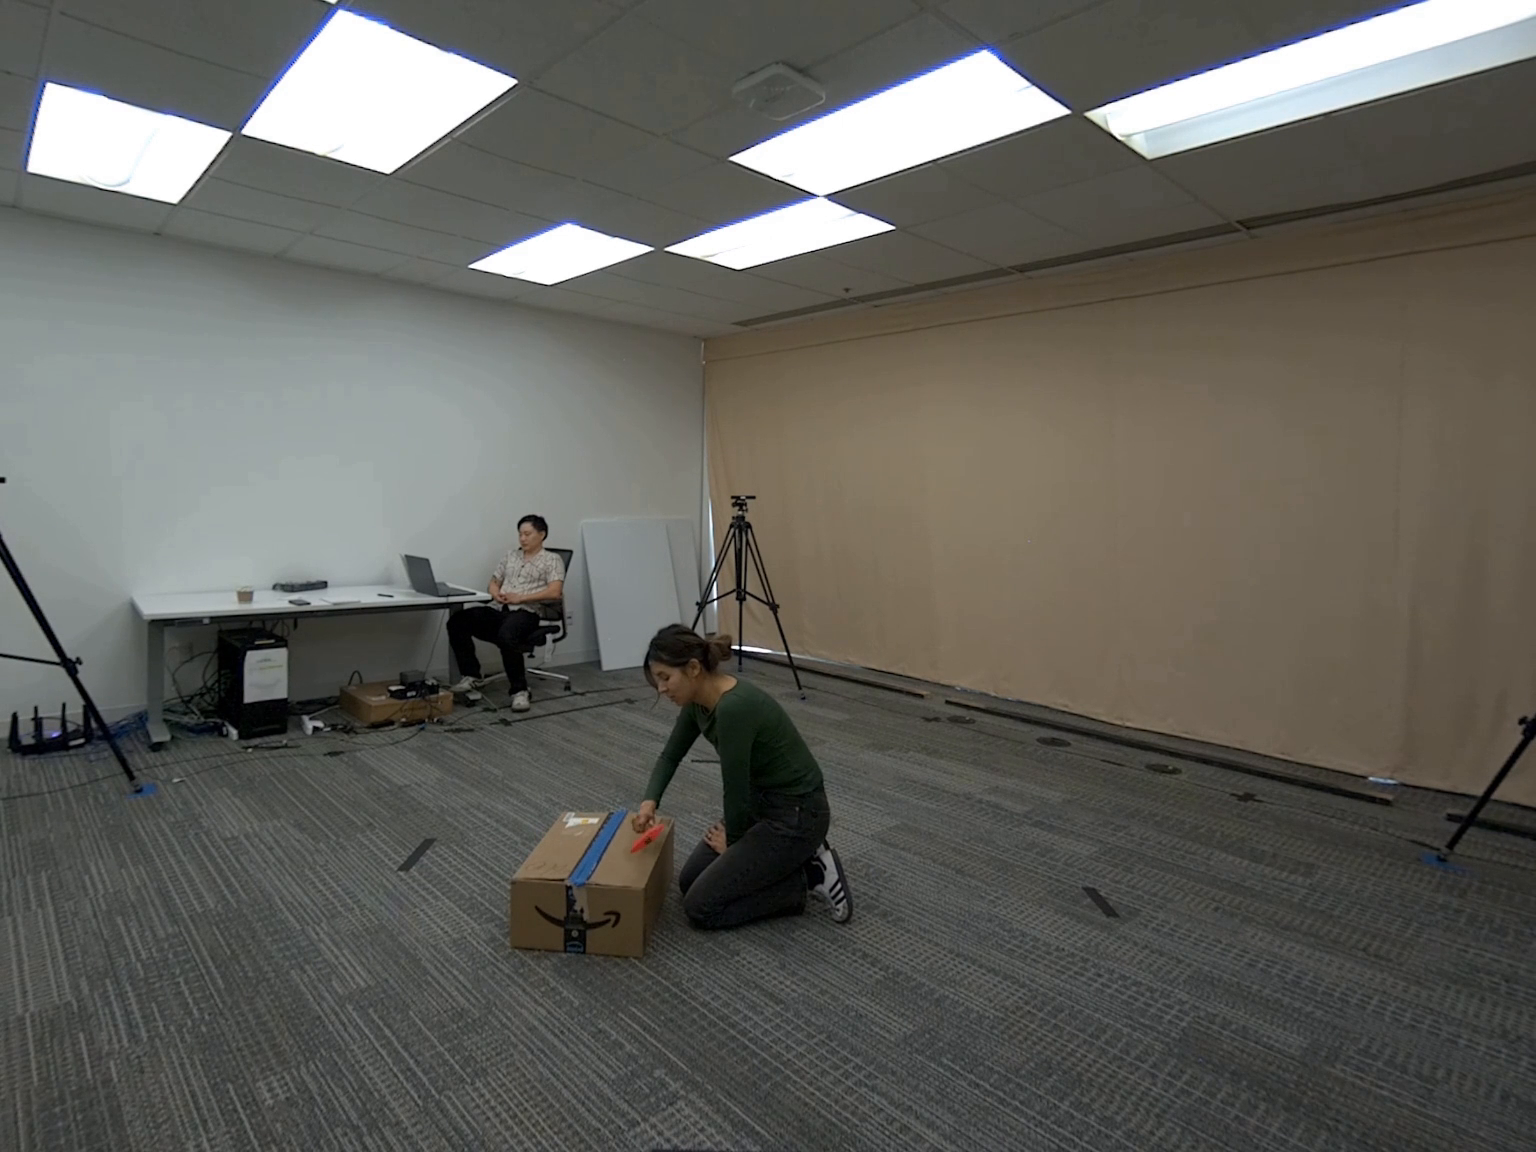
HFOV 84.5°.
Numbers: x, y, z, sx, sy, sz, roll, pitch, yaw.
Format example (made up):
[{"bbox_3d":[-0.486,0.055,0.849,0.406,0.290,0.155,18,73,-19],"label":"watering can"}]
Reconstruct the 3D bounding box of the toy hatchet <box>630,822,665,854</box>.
[{"bbox_3d":[-0.446,0.825,2.692,0.131,0.029,0.272,-42,8,-22],"label":"toy hatchet"}]
